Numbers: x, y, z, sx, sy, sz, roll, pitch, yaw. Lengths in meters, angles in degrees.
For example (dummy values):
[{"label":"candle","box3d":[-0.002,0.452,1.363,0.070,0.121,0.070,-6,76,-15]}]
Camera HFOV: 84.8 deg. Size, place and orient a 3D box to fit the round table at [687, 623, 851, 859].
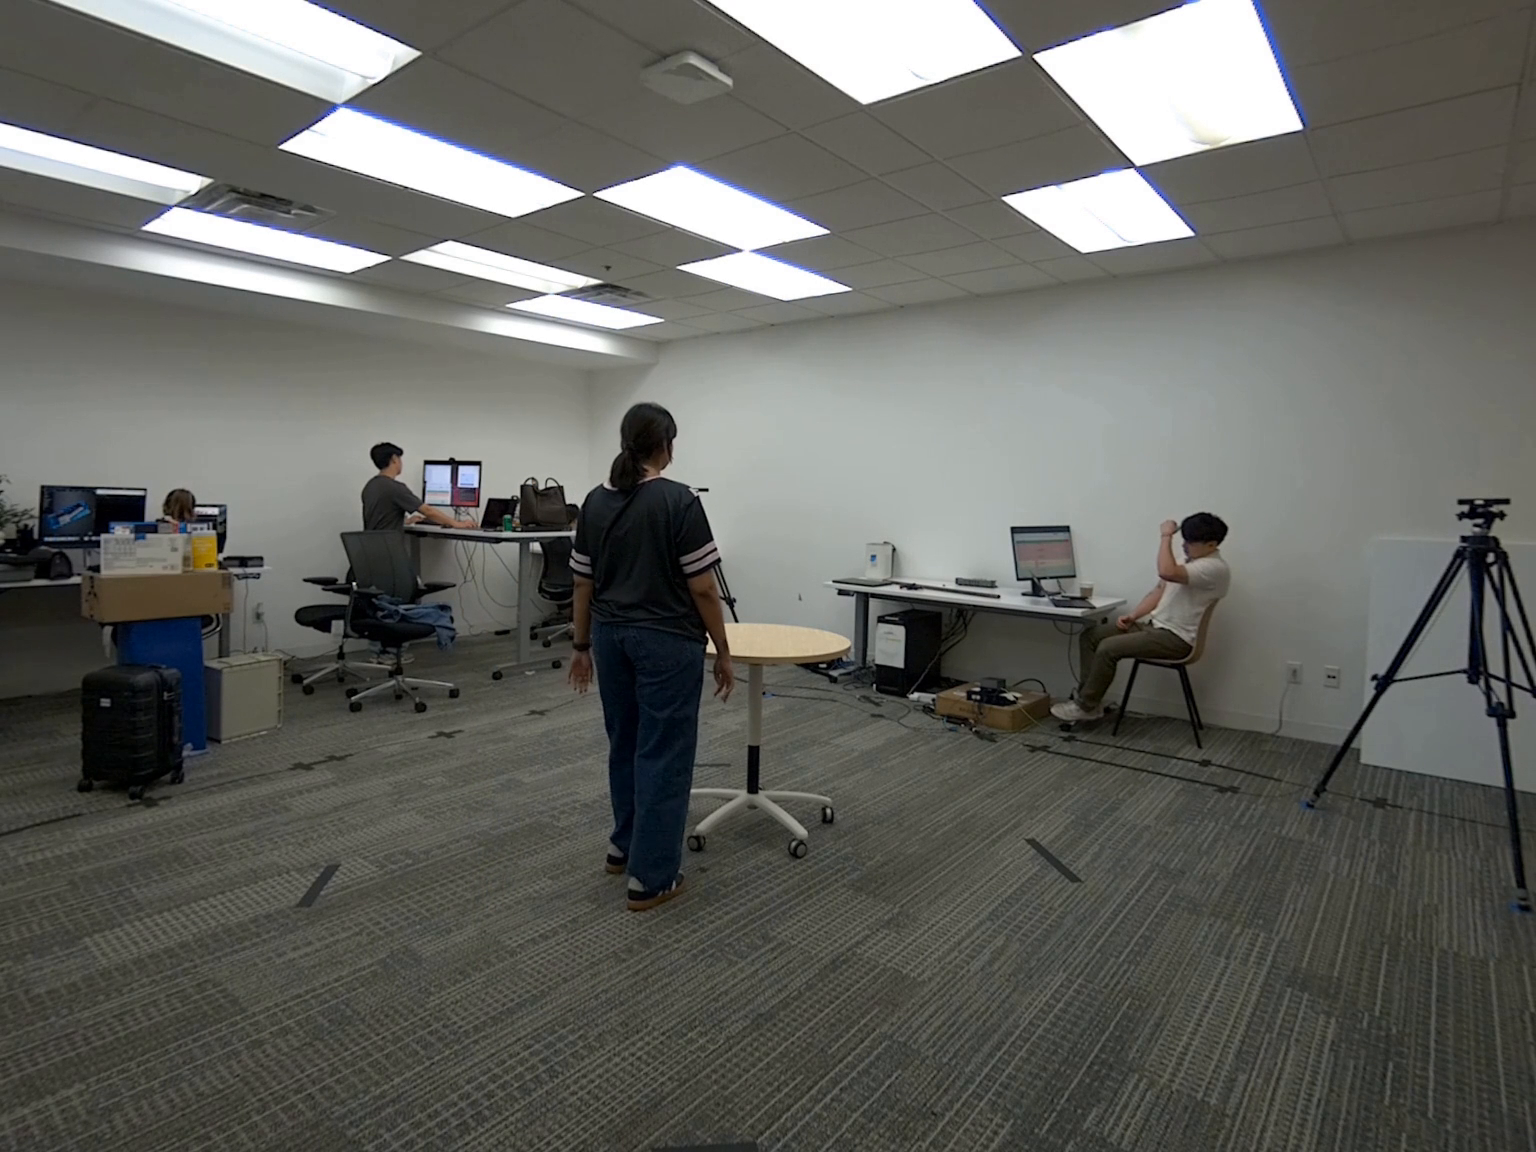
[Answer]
[{"label":"round table","box3d":[-0.078,0.641,3.502,0.784,0.784,0.789,2,4,-2]}]
